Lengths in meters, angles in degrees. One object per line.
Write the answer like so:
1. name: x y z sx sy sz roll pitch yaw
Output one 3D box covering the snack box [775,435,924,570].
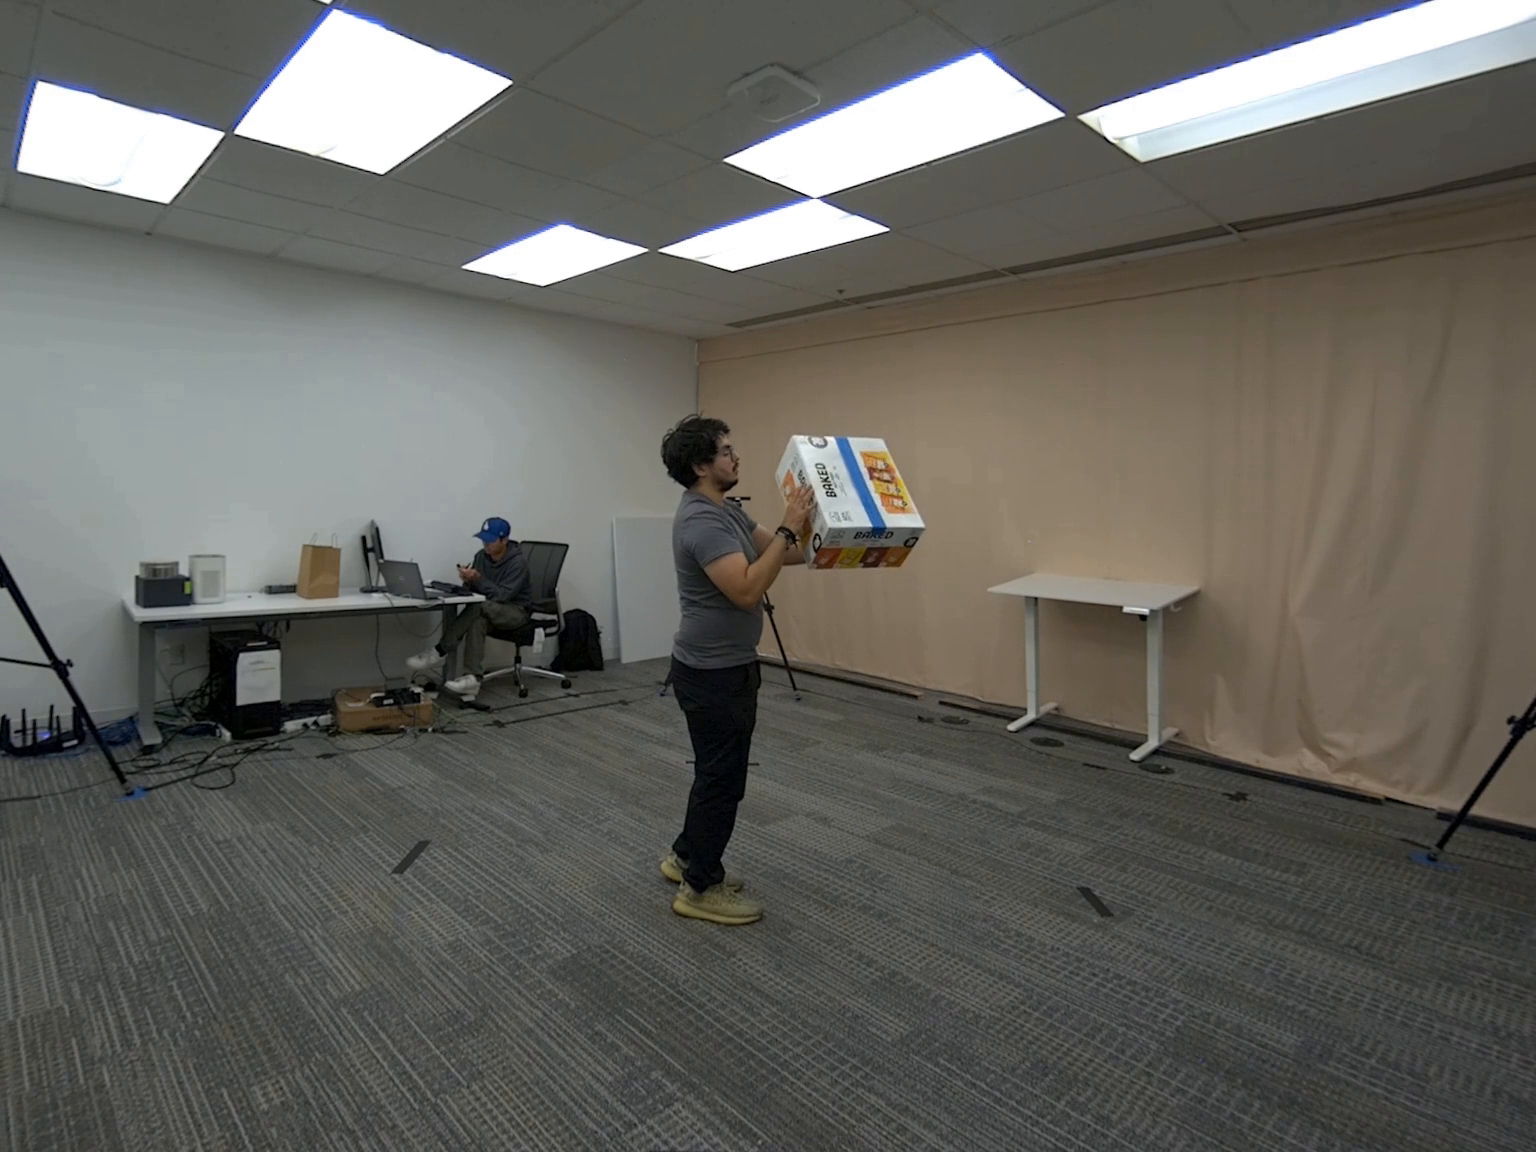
1. snack box: 0.250 -0.244 2.768 0.335 0.416 0.203 -1 -38 -22
